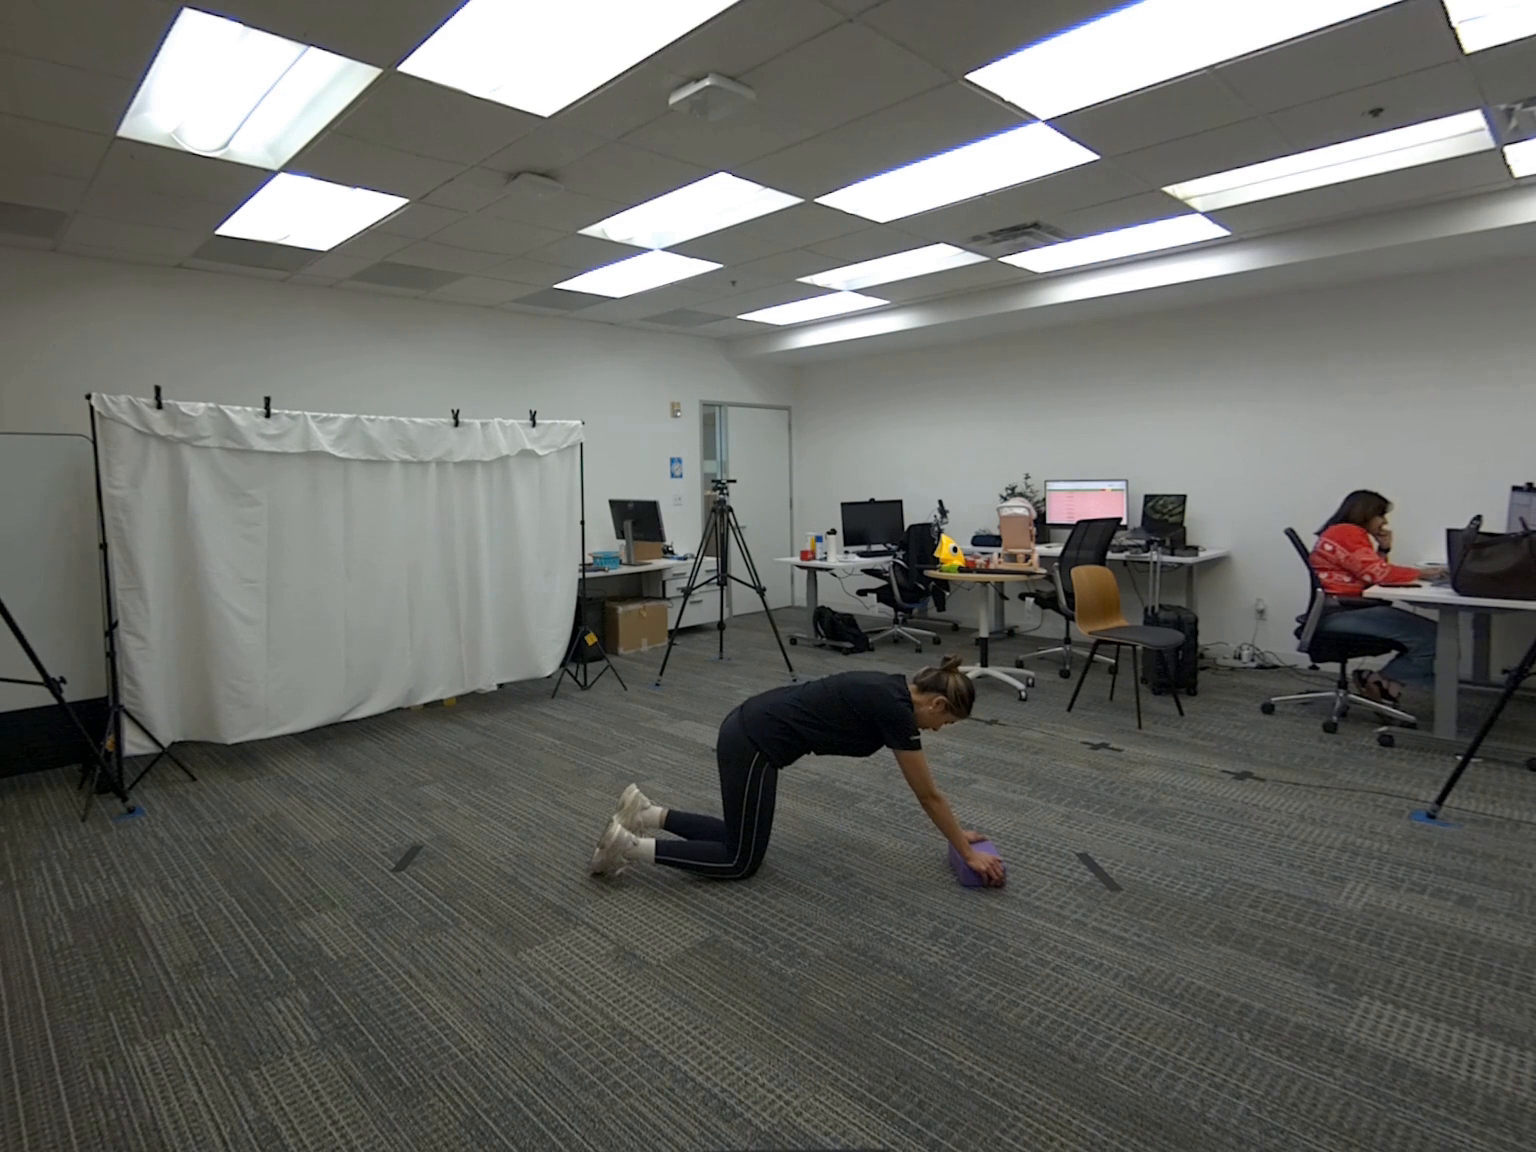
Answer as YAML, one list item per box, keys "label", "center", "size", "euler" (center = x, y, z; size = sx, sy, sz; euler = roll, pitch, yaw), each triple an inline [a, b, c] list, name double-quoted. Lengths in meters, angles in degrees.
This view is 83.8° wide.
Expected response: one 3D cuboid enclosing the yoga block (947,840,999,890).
- label: "yoga block"
  center: [0.732, 1.003, 3.001]
  size: [0.149, 0.076, 0.230]
  euler: [-1, 7, 1]
